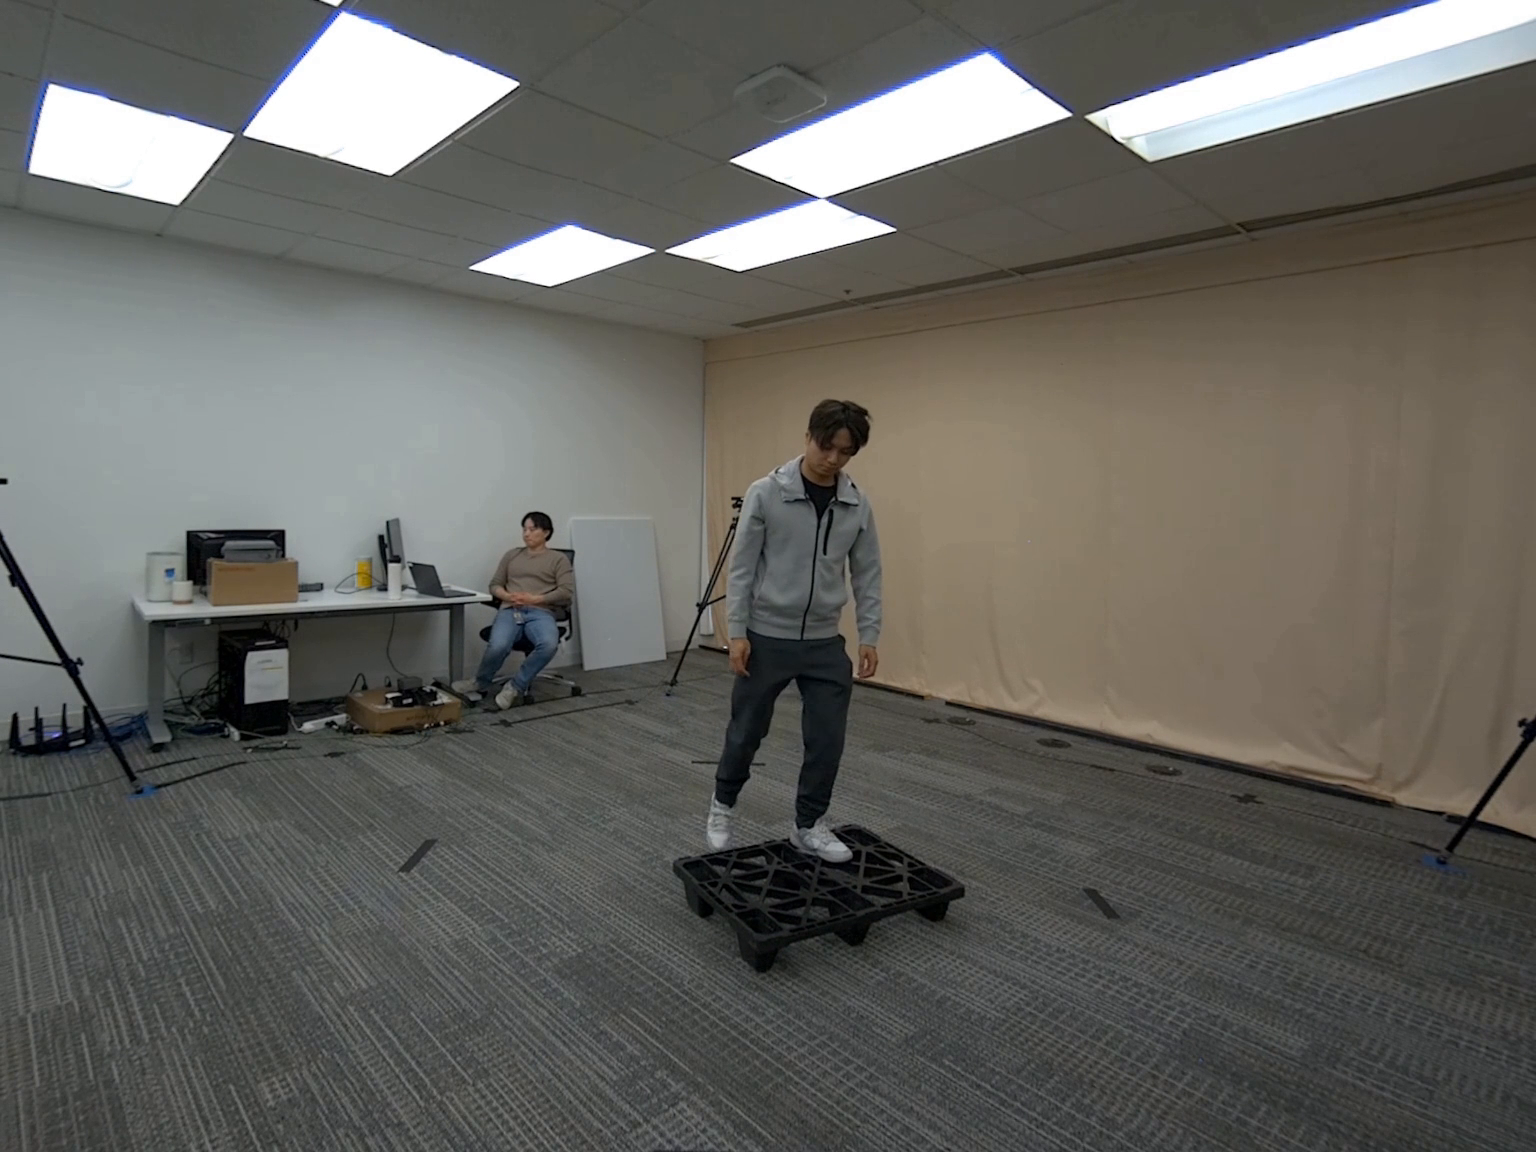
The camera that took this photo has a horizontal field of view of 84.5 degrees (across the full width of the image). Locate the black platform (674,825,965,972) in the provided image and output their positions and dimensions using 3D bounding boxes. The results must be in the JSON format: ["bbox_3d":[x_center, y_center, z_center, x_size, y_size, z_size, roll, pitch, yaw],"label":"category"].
[{"bbox_3d":[0.148,1.070,2.843,0.789,0.143,0.619,-1,5,-30],"label":"black platform"}]
